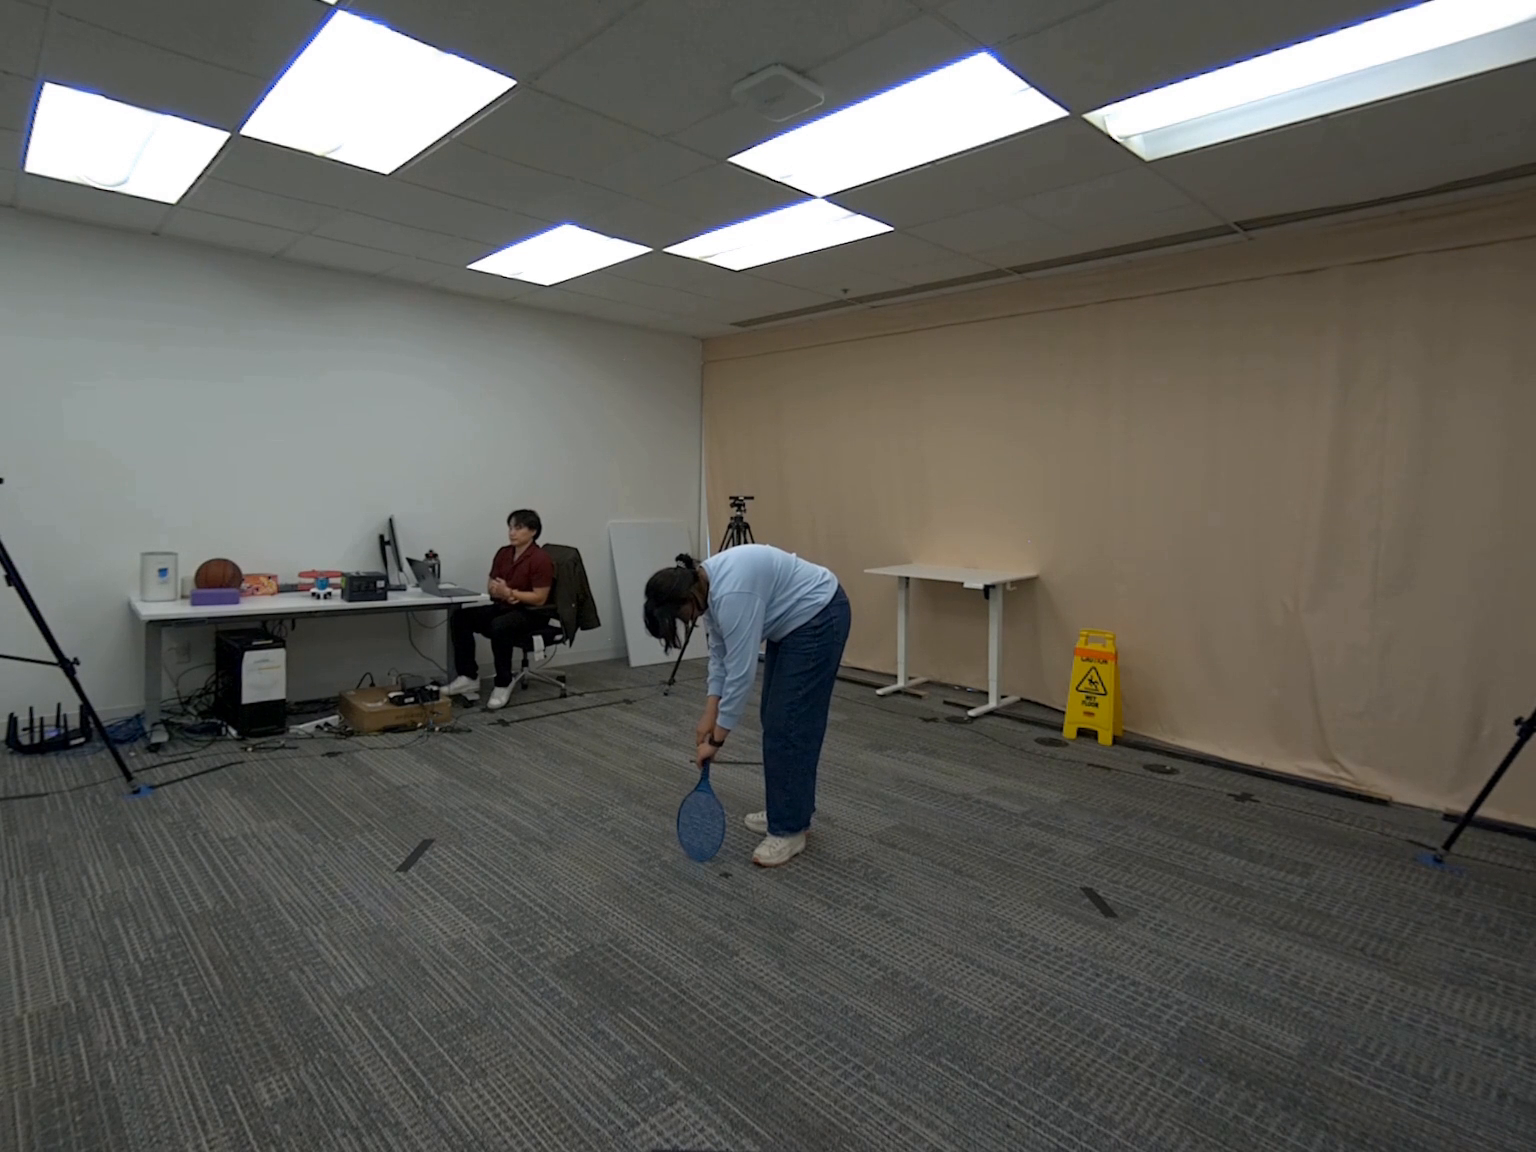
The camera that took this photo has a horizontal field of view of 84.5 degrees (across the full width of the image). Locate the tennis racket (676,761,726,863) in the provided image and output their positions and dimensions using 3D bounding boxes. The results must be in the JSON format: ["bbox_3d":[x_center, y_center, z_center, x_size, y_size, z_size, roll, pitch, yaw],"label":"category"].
[{"bbox_3d":[-0.258,0.876,3.245,0.218,0.435,0.031,0,-8,29],"label":"tennis racket"}]
